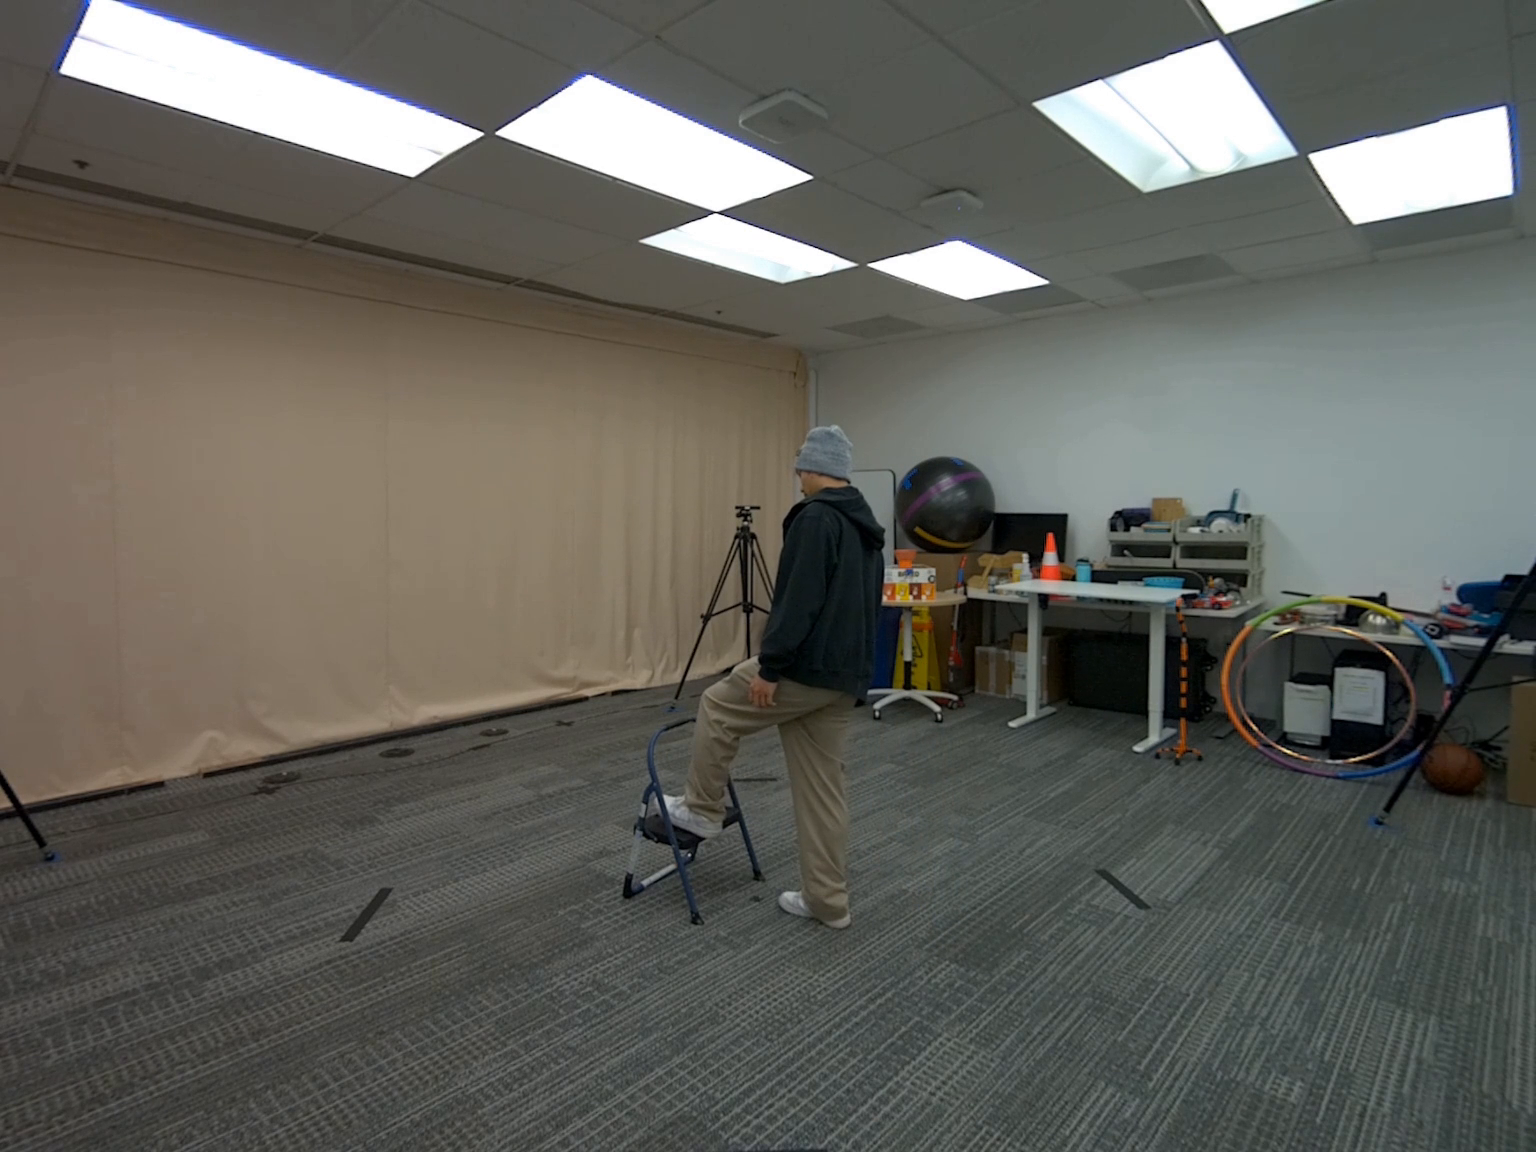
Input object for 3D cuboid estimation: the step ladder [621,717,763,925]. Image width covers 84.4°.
[{"bbox_3d":[-0.268,0.836,3.055,0.360,0.605,0.419,2,4,32],"label":"step ladder"}]
